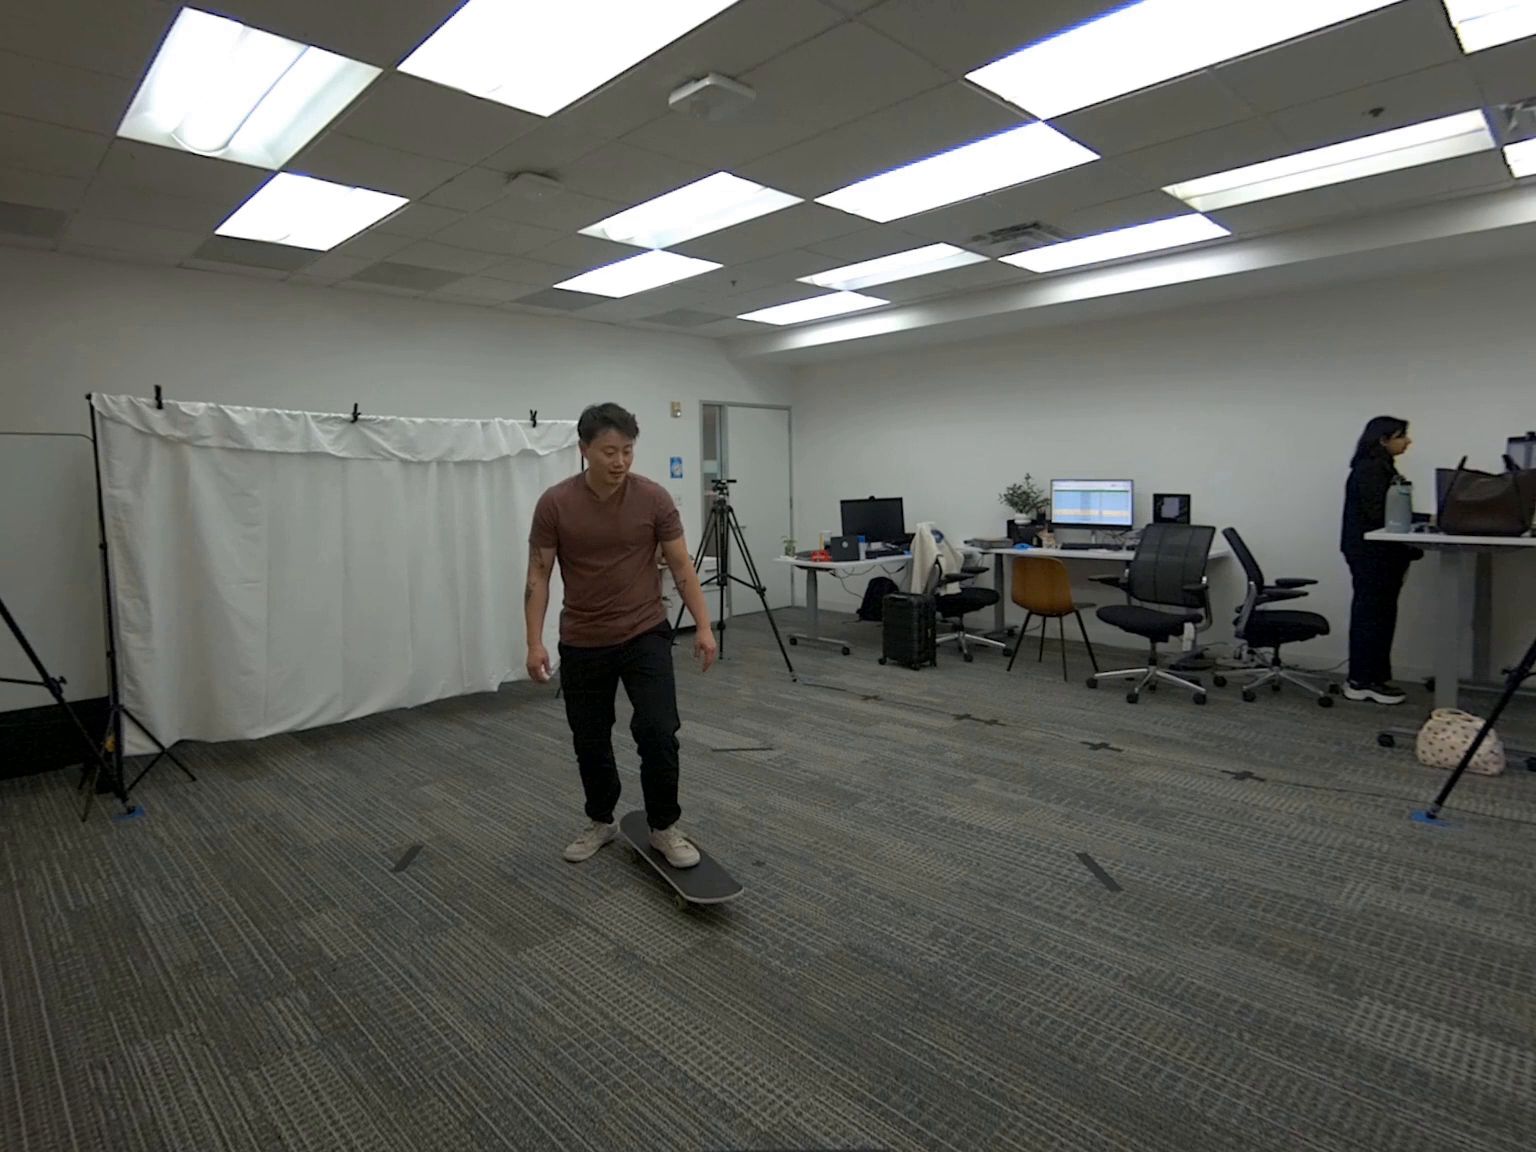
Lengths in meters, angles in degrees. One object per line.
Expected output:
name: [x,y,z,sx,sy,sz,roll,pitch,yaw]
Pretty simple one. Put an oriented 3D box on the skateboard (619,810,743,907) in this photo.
skateboard: [-0.316,1.014,2.986,0.189,0.110,0.807,-6,8,-29]
